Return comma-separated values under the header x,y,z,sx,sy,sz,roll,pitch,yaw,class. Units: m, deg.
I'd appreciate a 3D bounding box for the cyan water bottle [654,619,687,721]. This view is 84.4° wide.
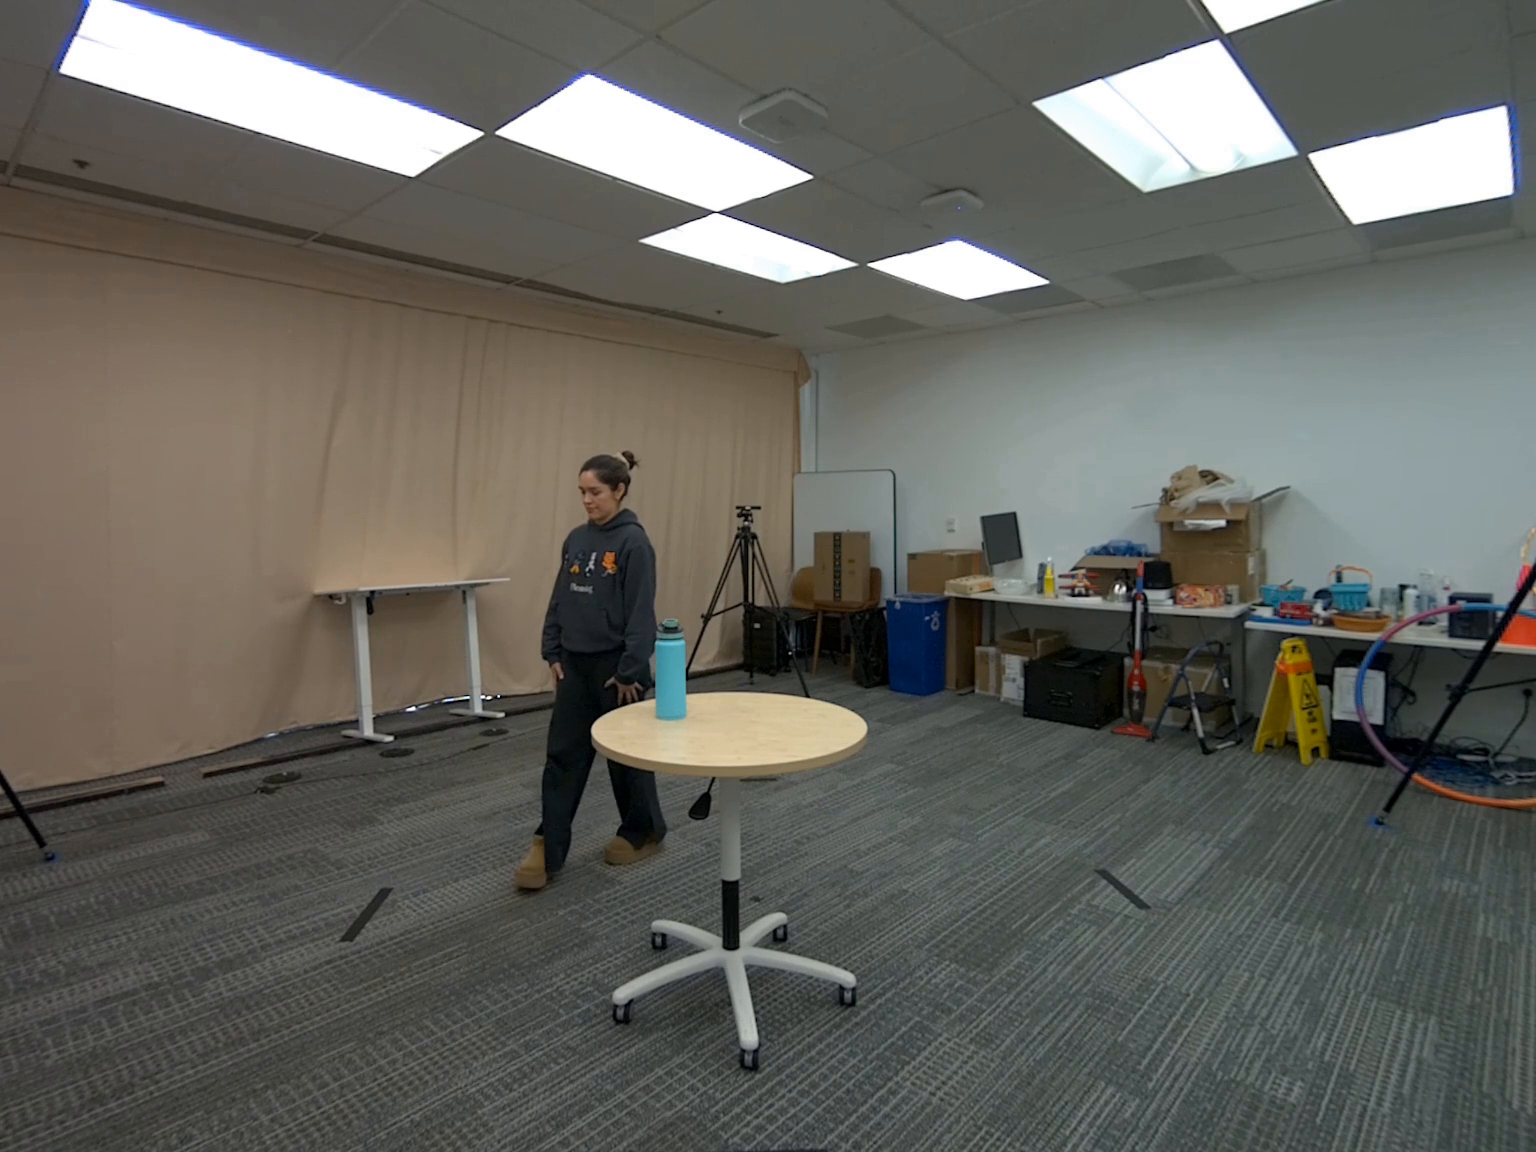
x,y,z,sx,sy,sz,roll,pitch,yaw,class
-0.272,0.271,2.442,0.092,0.283,0.092,-2,2,-2,cyan water bottle
